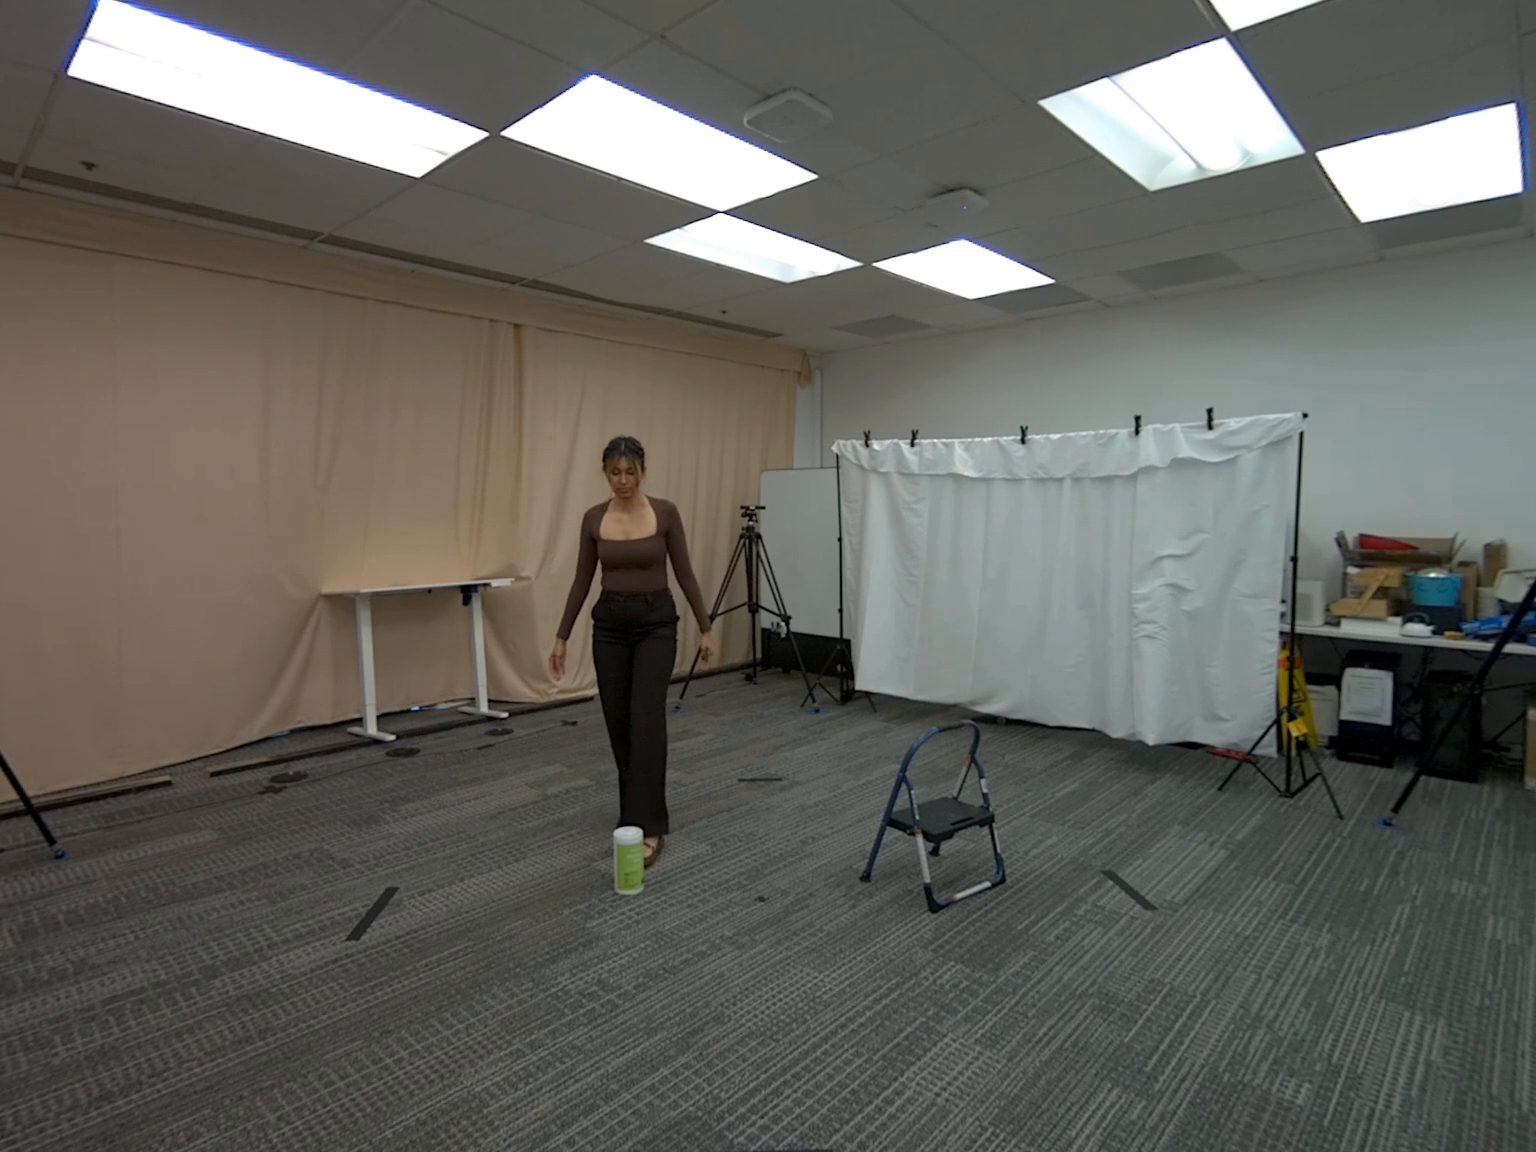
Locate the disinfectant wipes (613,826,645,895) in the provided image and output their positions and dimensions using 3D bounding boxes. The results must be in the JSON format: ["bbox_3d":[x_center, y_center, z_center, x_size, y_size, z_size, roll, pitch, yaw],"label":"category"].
[{"bbox_3d":[-0.513,1.032,3.052,0.117,0.217,0.118,3,5,-2],"label":"disinfectant wipes"}]
